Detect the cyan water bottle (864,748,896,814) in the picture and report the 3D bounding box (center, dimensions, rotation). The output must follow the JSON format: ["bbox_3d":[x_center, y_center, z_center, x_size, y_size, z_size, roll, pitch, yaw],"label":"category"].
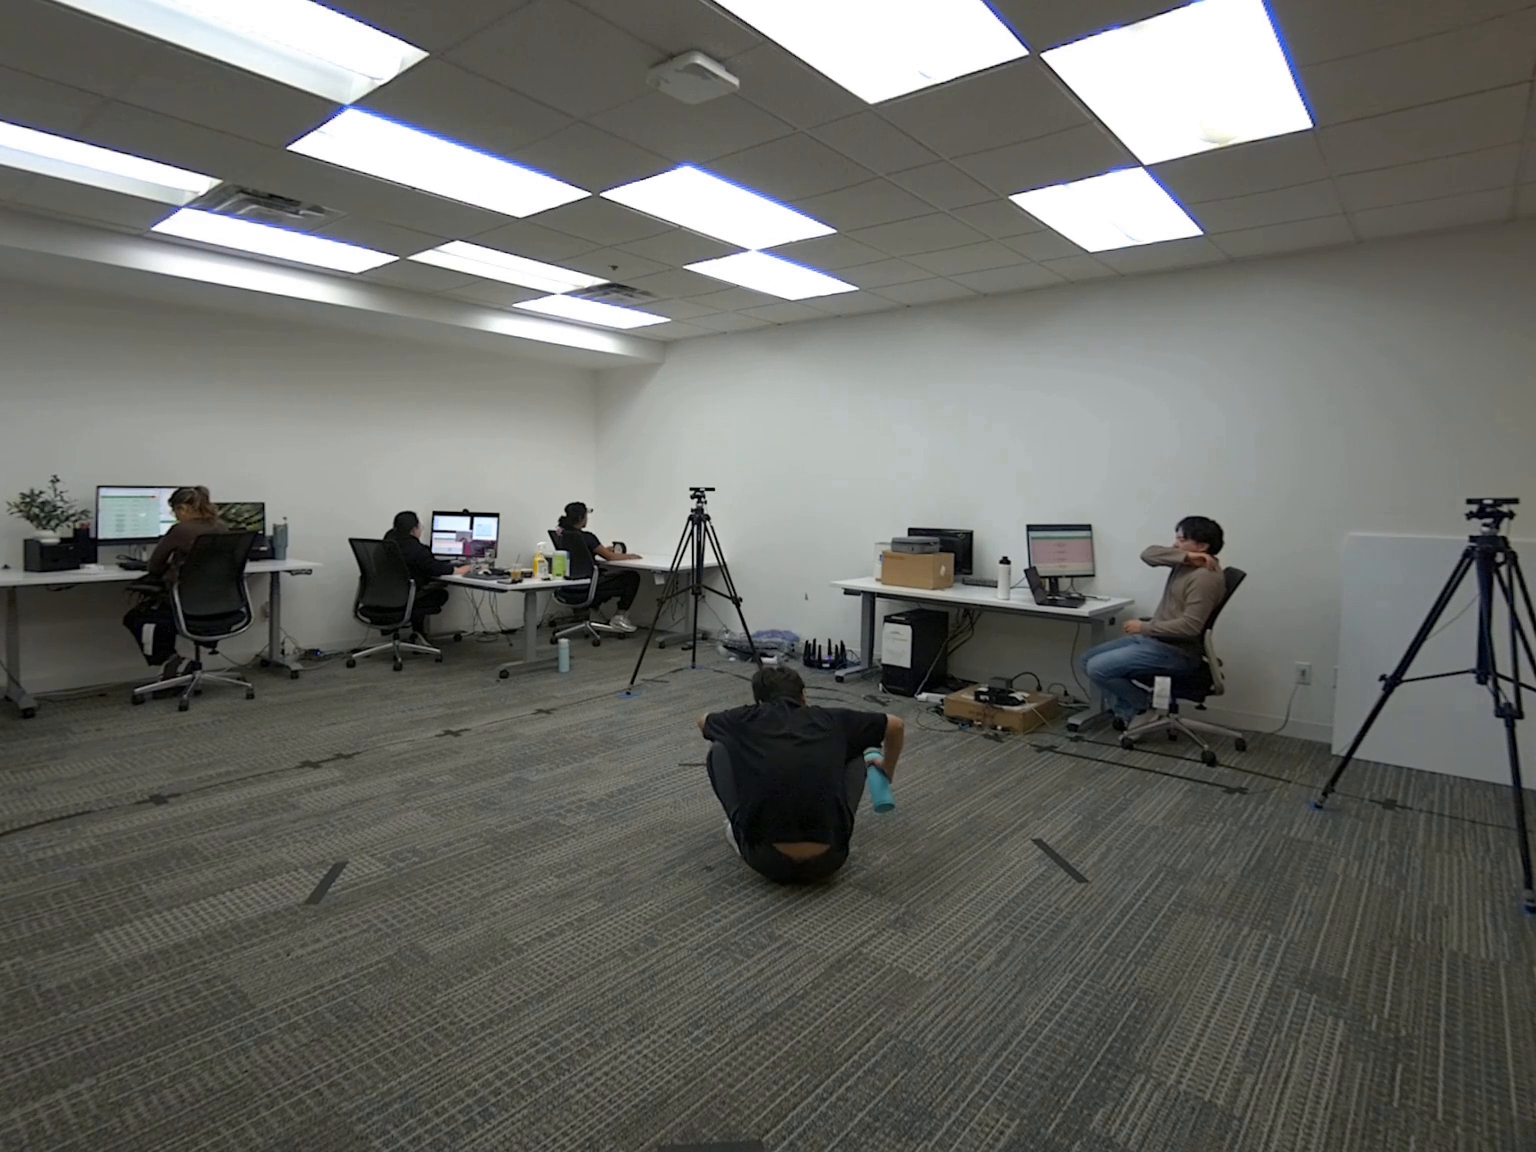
[{"bbox_3d":[0.440,0.829,3.510,0.092,0.293,0.090,-5,-40,-6],"label":"cyan water bottle"}]
